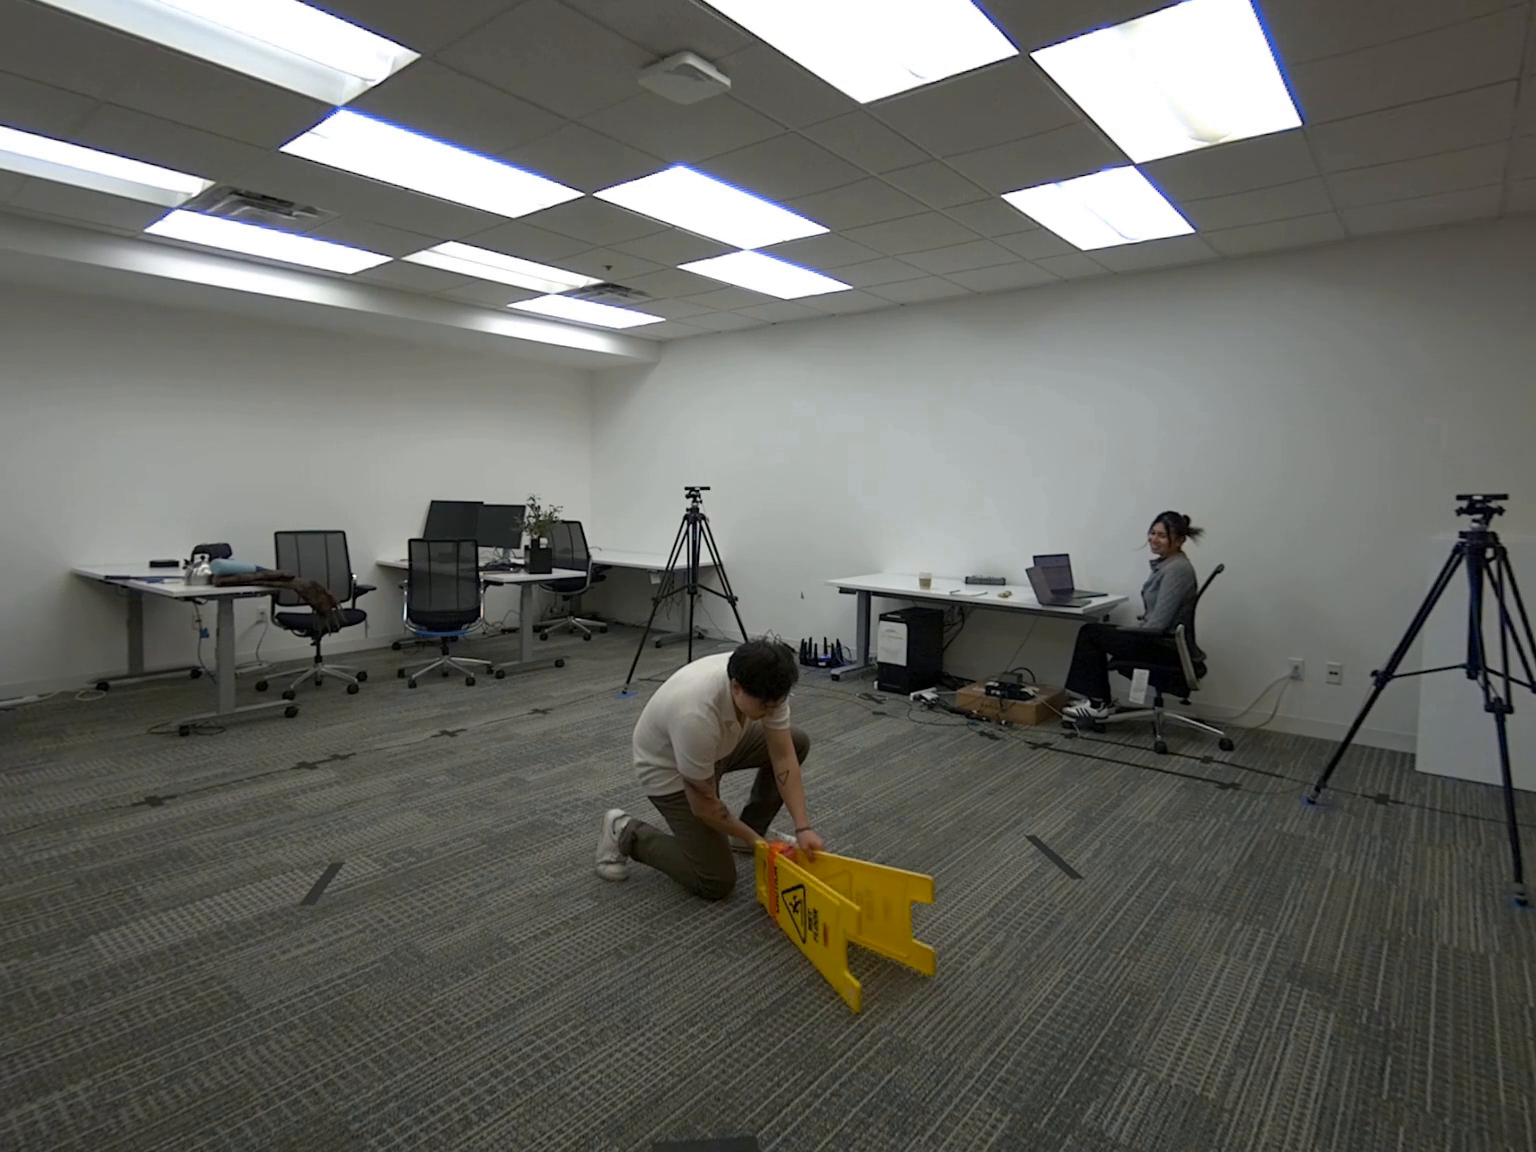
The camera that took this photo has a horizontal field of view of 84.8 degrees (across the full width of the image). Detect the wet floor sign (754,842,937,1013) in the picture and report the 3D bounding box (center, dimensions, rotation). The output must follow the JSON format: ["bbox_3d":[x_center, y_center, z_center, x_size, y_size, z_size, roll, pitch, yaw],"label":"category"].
[{"bbox_3d":[0.148,0.992,2.603,0.281,0.282,0.666,-4,4,-37],"label":"wet floor sign"}]
